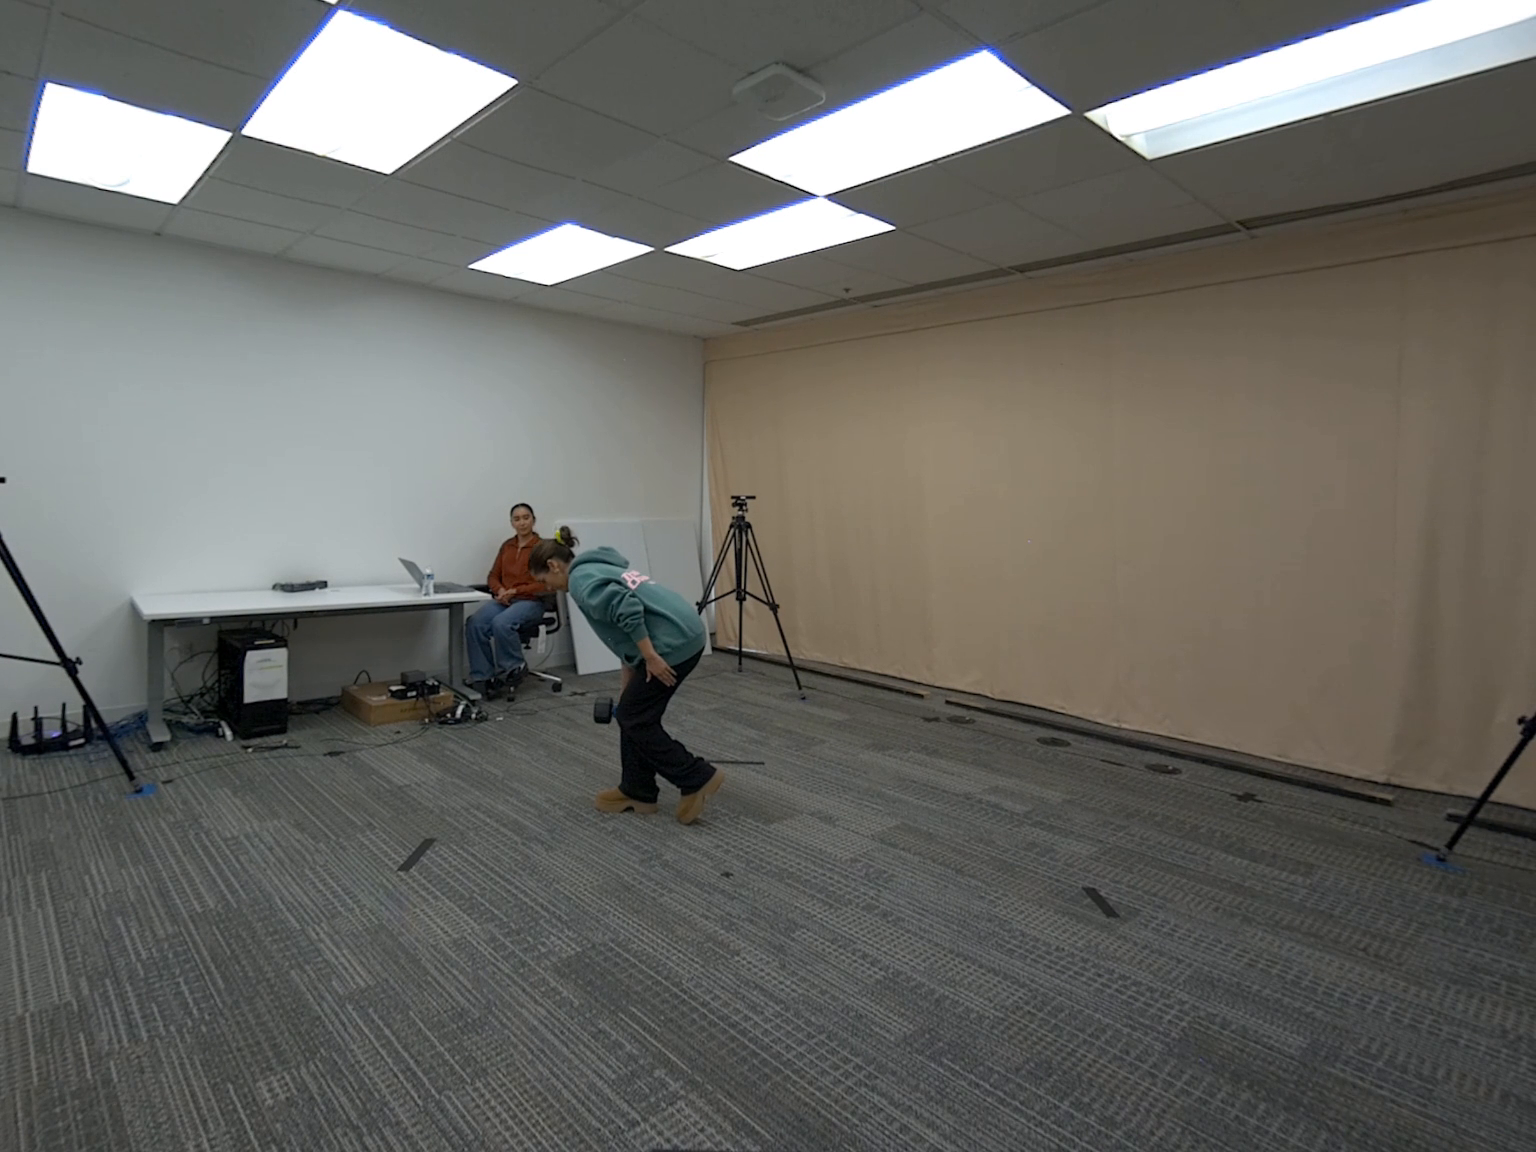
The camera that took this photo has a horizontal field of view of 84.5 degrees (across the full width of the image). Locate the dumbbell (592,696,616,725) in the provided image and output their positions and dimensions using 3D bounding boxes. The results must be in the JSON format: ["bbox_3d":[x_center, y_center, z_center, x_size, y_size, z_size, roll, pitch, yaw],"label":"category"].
[{"bbox_3d":[-0.658,0.623,3.866,0.293,0.124,0.108,4,-14,-3],"label":"dumbbell"}]
